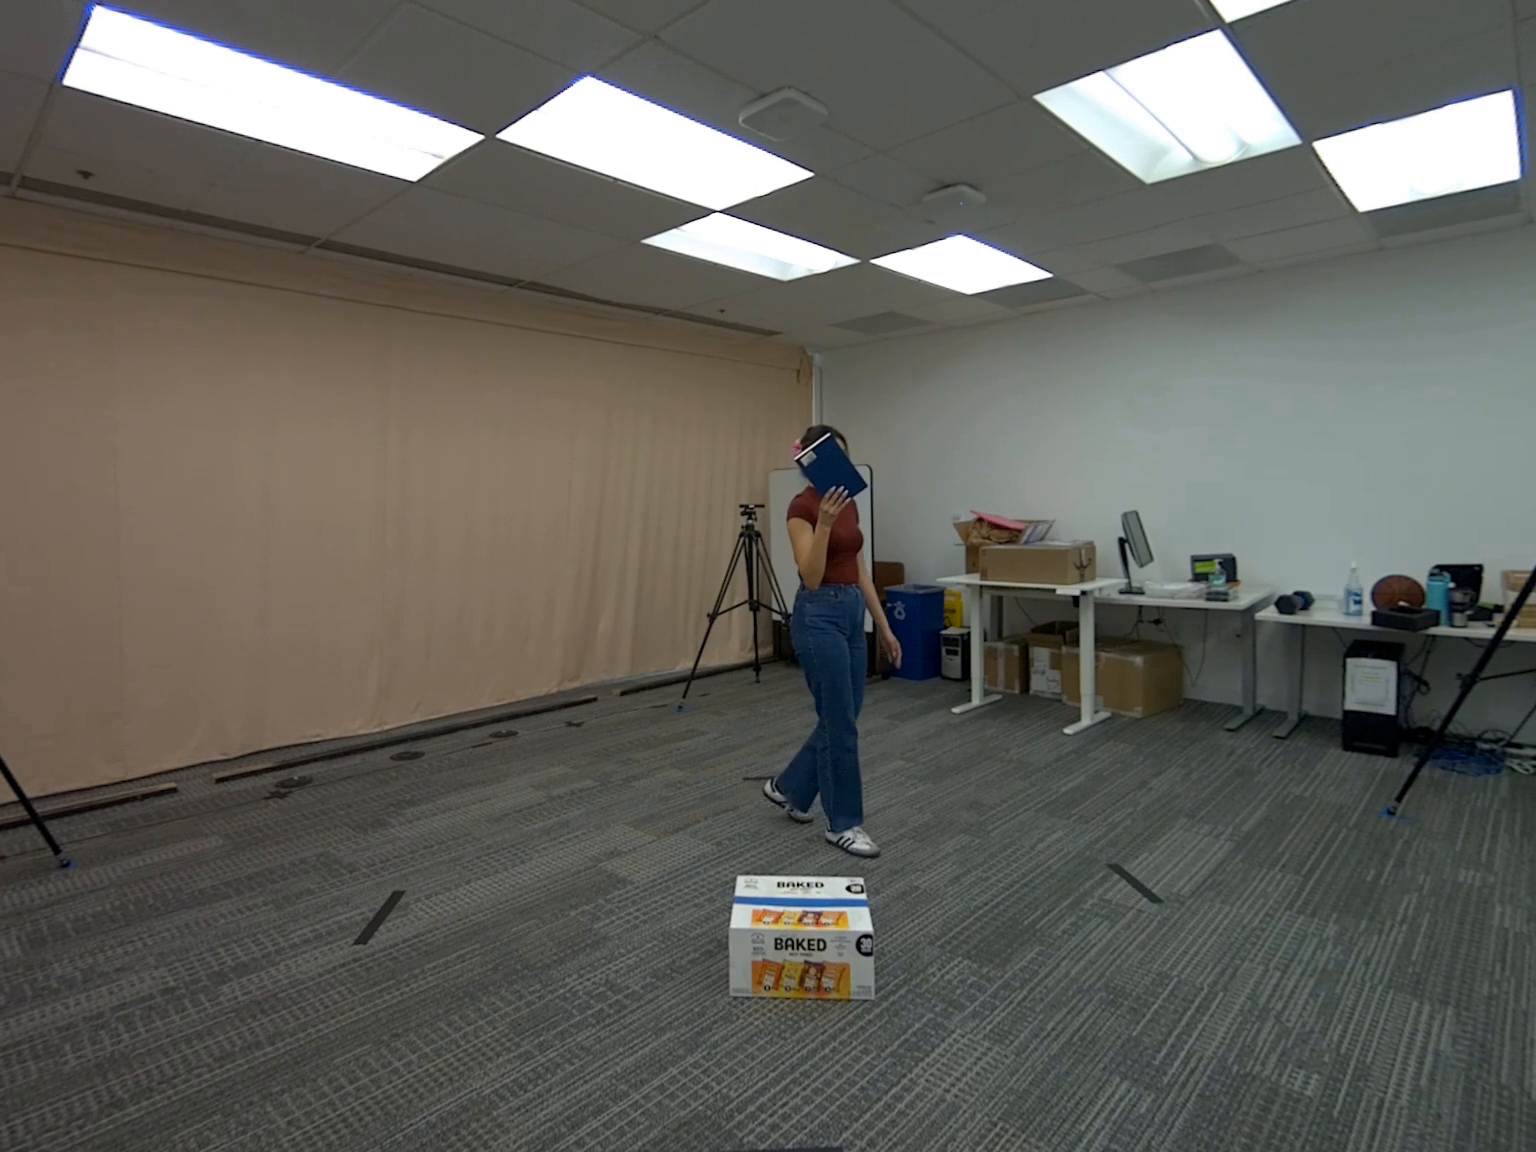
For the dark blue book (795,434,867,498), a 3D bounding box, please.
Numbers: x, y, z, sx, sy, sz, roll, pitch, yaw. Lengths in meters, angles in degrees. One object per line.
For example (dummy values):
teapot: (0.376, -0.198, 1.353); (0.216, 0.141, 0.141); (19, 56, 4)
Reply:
dark blue book: (0.235, -0.377, 3.081); (0.164, 0.241, 0.046); (-35, 16, 10)
